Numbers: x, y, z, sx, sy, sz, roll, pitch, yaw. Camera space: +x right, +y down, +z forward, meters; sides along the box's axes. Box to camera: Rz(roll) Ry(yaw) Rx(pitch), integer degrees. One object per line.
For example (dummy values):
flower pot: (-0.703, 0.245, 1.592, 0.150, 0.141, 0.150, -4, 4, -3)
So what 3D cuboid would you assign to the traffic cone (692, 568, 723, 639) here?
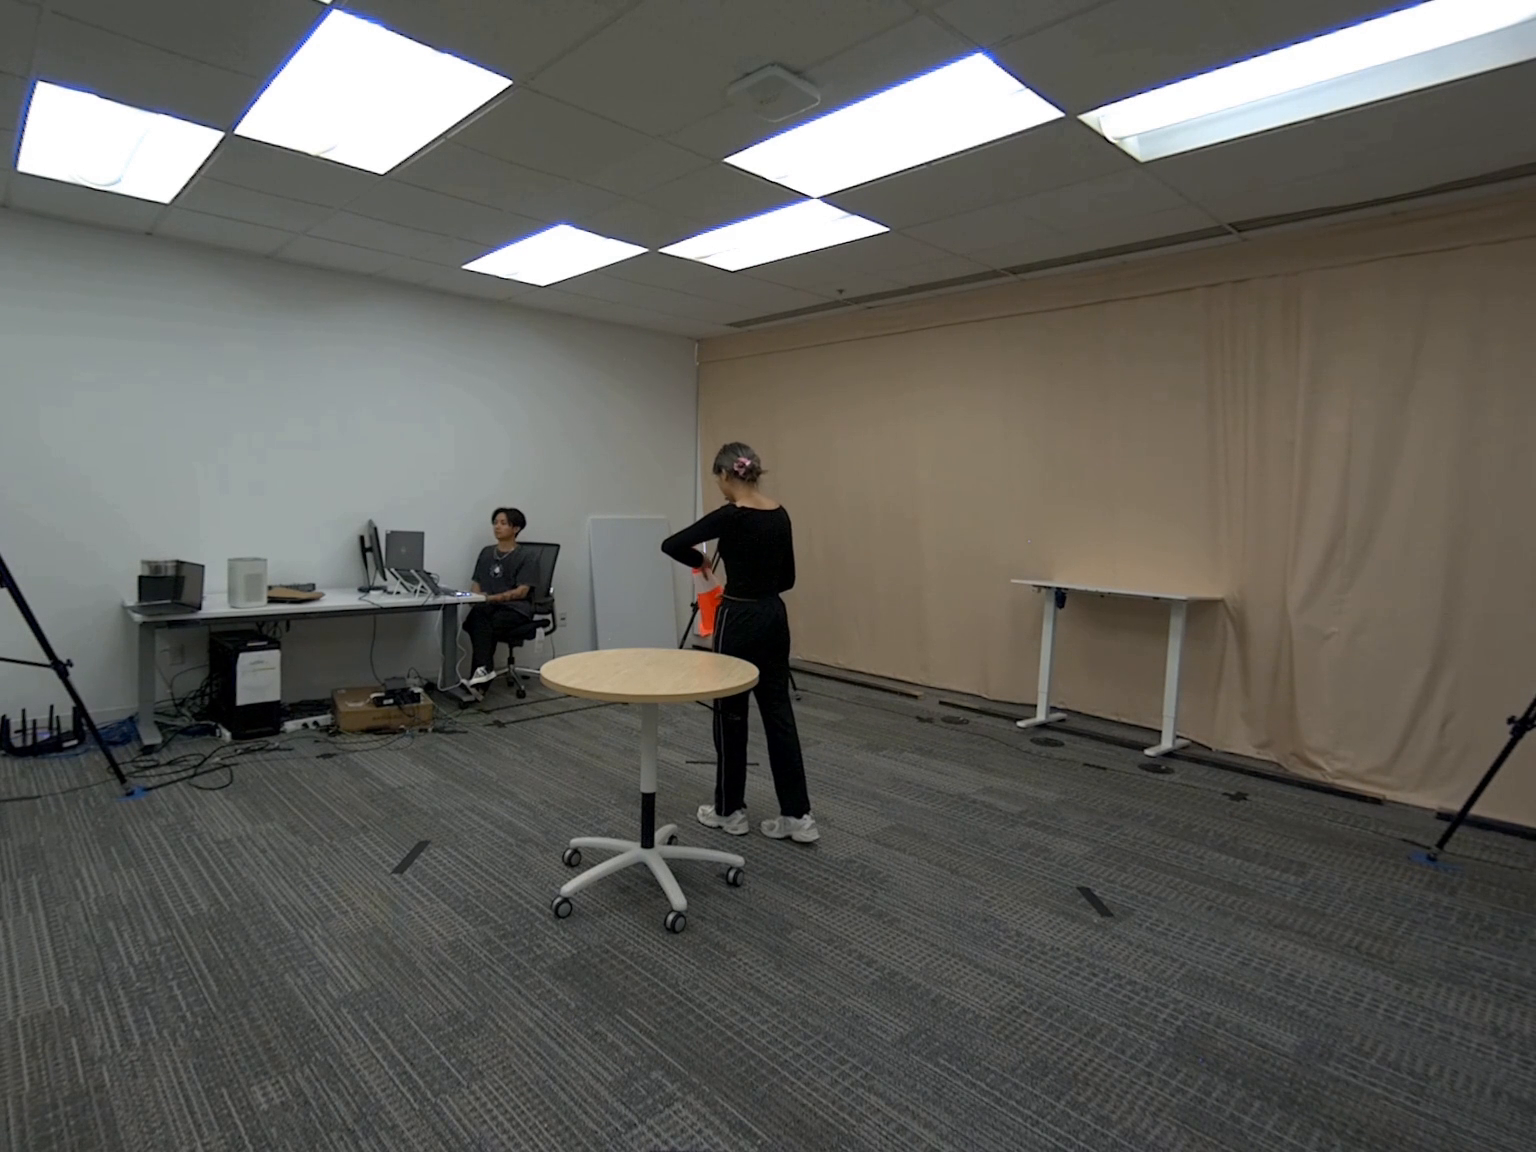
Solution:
traffic cone: (-0.287, 0.041, 3.733, 0.203, 0.379, 0.208, -19, 12, -4)
